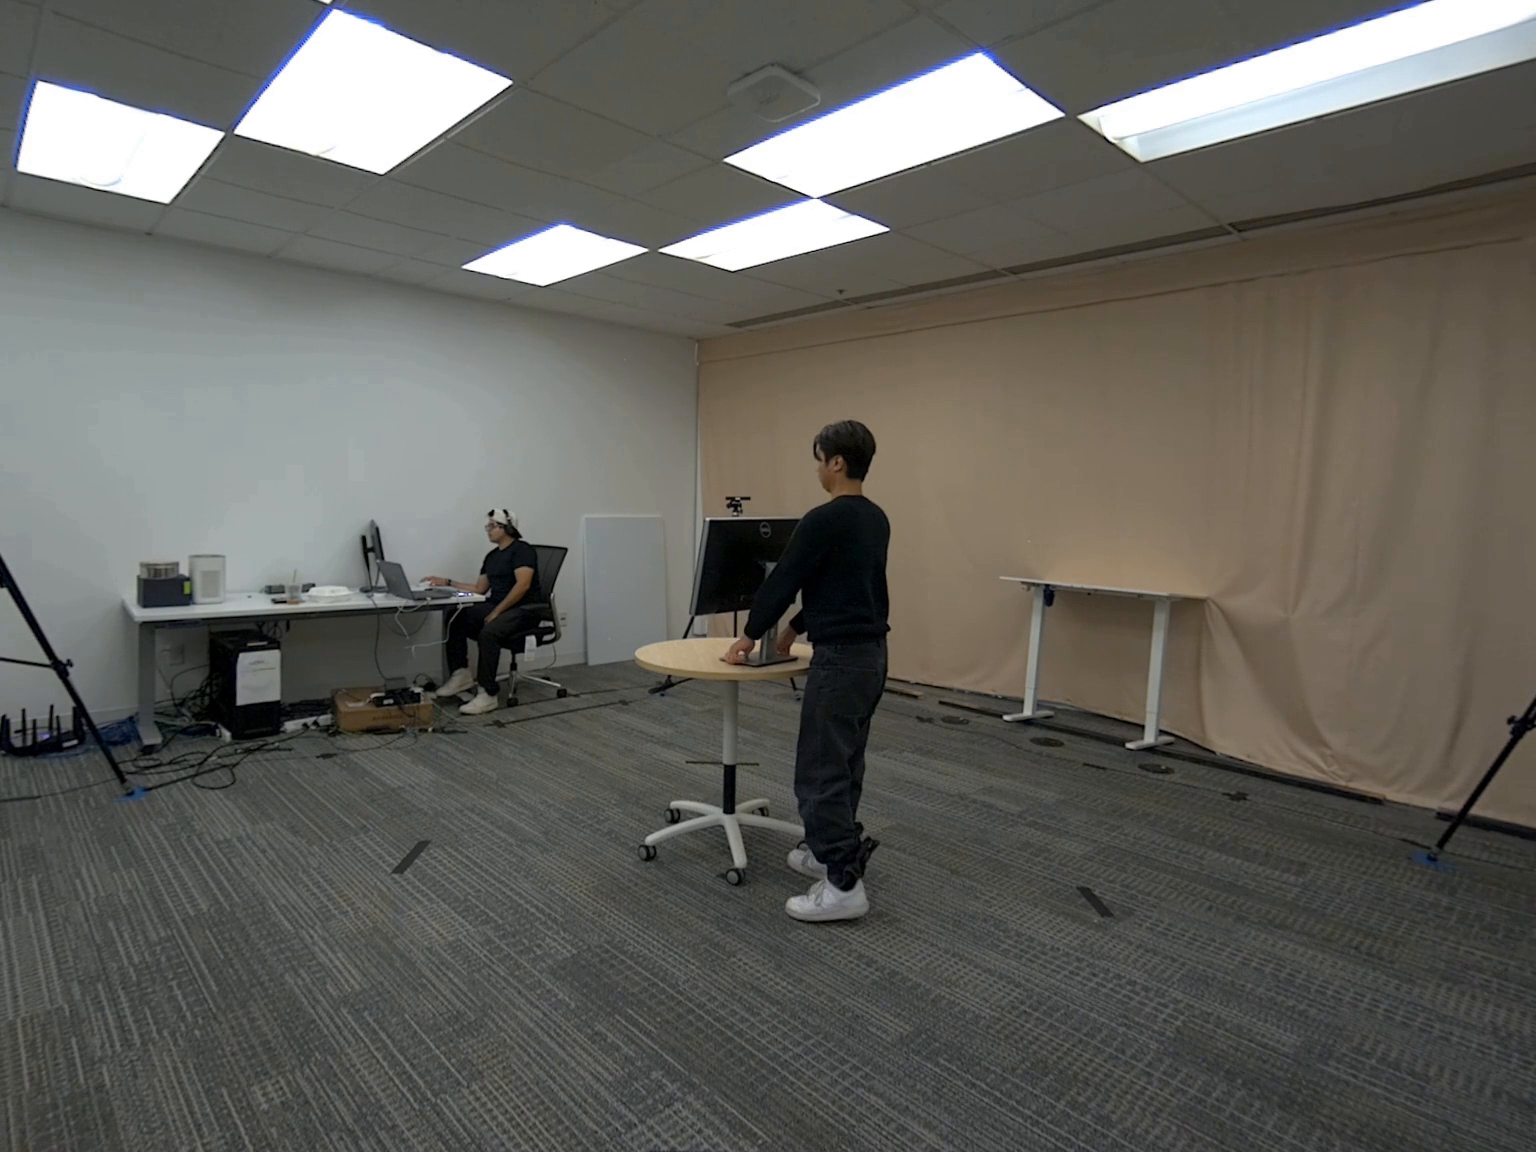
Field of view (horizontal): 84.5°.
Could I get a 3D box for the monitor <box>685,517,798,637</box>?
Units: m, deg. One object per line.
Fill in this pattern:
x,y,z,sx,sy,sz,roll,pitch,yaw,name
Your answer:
-0.040,0.048,3.175,0.192,0.521,0.527,3,4,44,monitor
